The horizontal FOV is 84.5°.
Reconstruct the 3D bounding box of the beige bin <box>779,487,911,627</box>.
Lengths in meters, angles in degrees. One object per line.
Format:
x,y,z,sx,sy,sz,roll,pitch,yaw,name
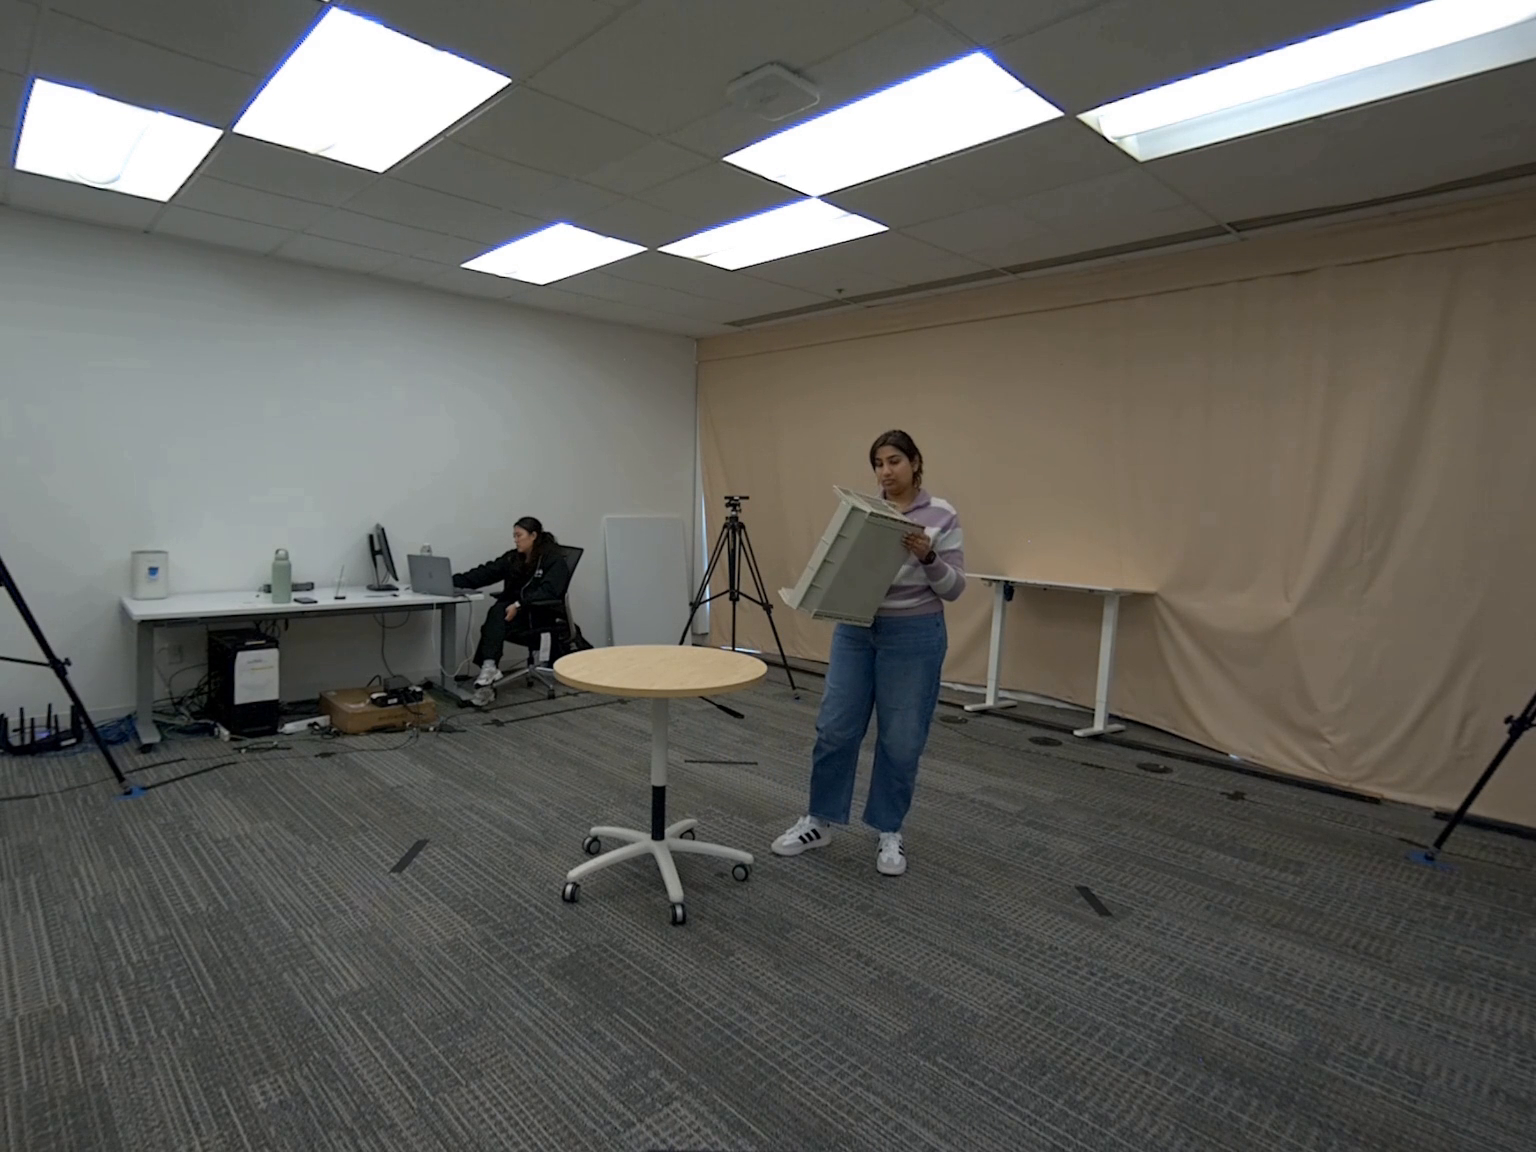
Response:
0.270,-0.064,2.891,0.367,0.420,0.195,12,22,-44,beige bin
